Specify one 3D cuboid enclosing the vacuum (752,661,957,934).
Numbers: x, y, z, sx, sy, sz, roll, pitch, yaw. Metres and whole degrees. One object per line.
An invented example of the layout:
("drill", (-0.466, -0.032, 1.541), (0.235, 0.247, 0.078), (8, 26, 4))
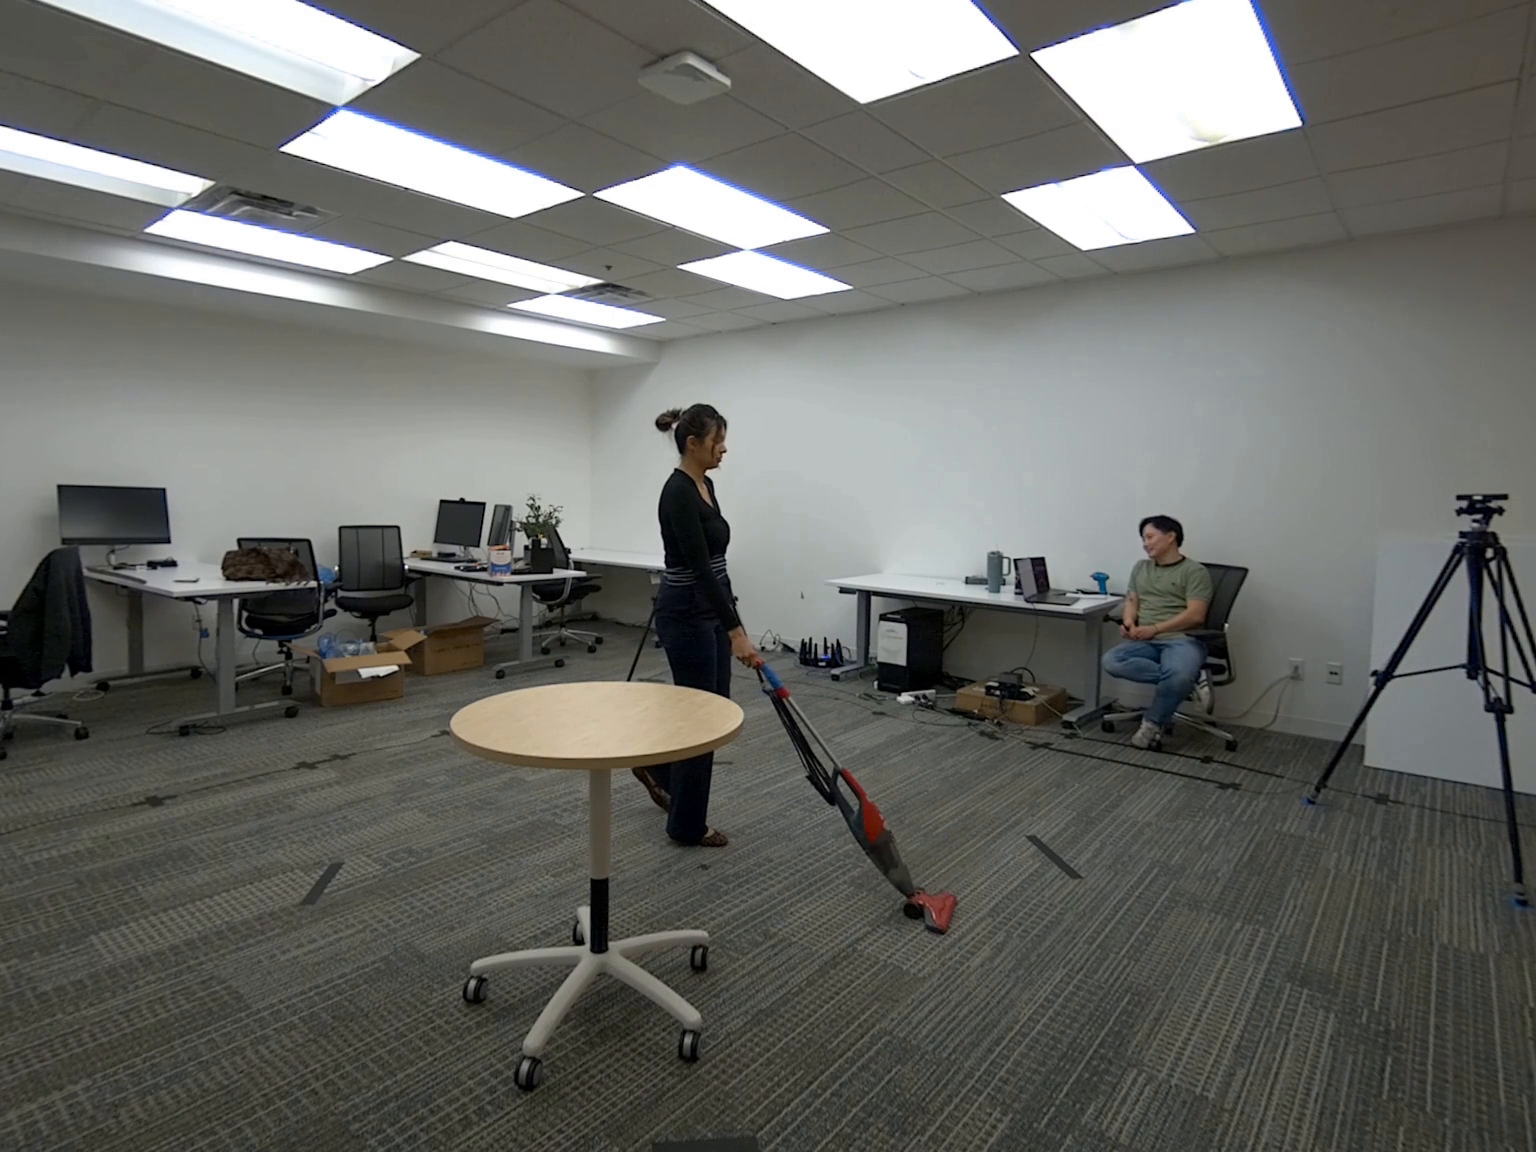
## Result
("vacuum", (0.211, 0.688, 2.930), (0.144, 1.070, 0.247), (-43, -14, 22))
